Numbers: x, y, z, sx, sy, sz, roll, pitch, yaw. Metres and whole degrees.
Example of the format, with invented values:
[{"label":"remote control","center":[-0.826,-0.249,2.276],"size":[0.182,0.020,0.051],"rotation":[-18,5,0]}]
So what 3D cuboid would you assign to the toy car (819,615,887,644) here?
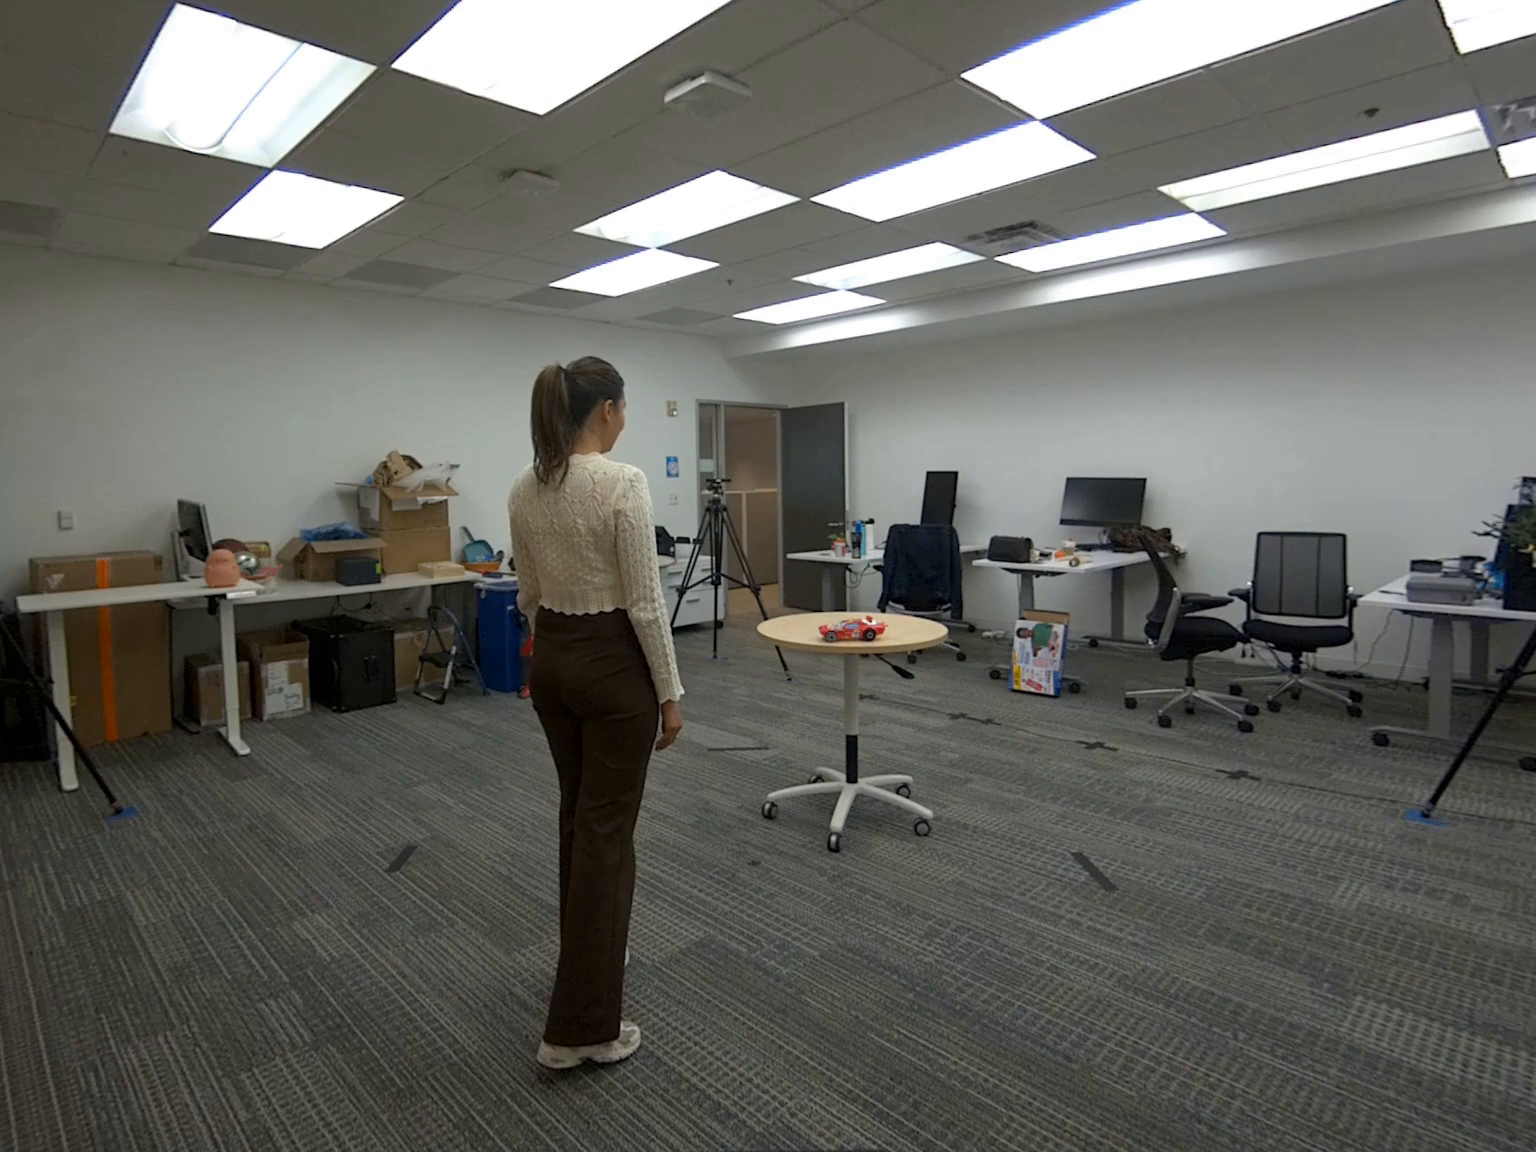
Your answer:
[{"label":"toy car","center":[0.339,0.205,3.237],"size":[0.254,0.082,0.131],"rotation":[-14,8,0]}]
